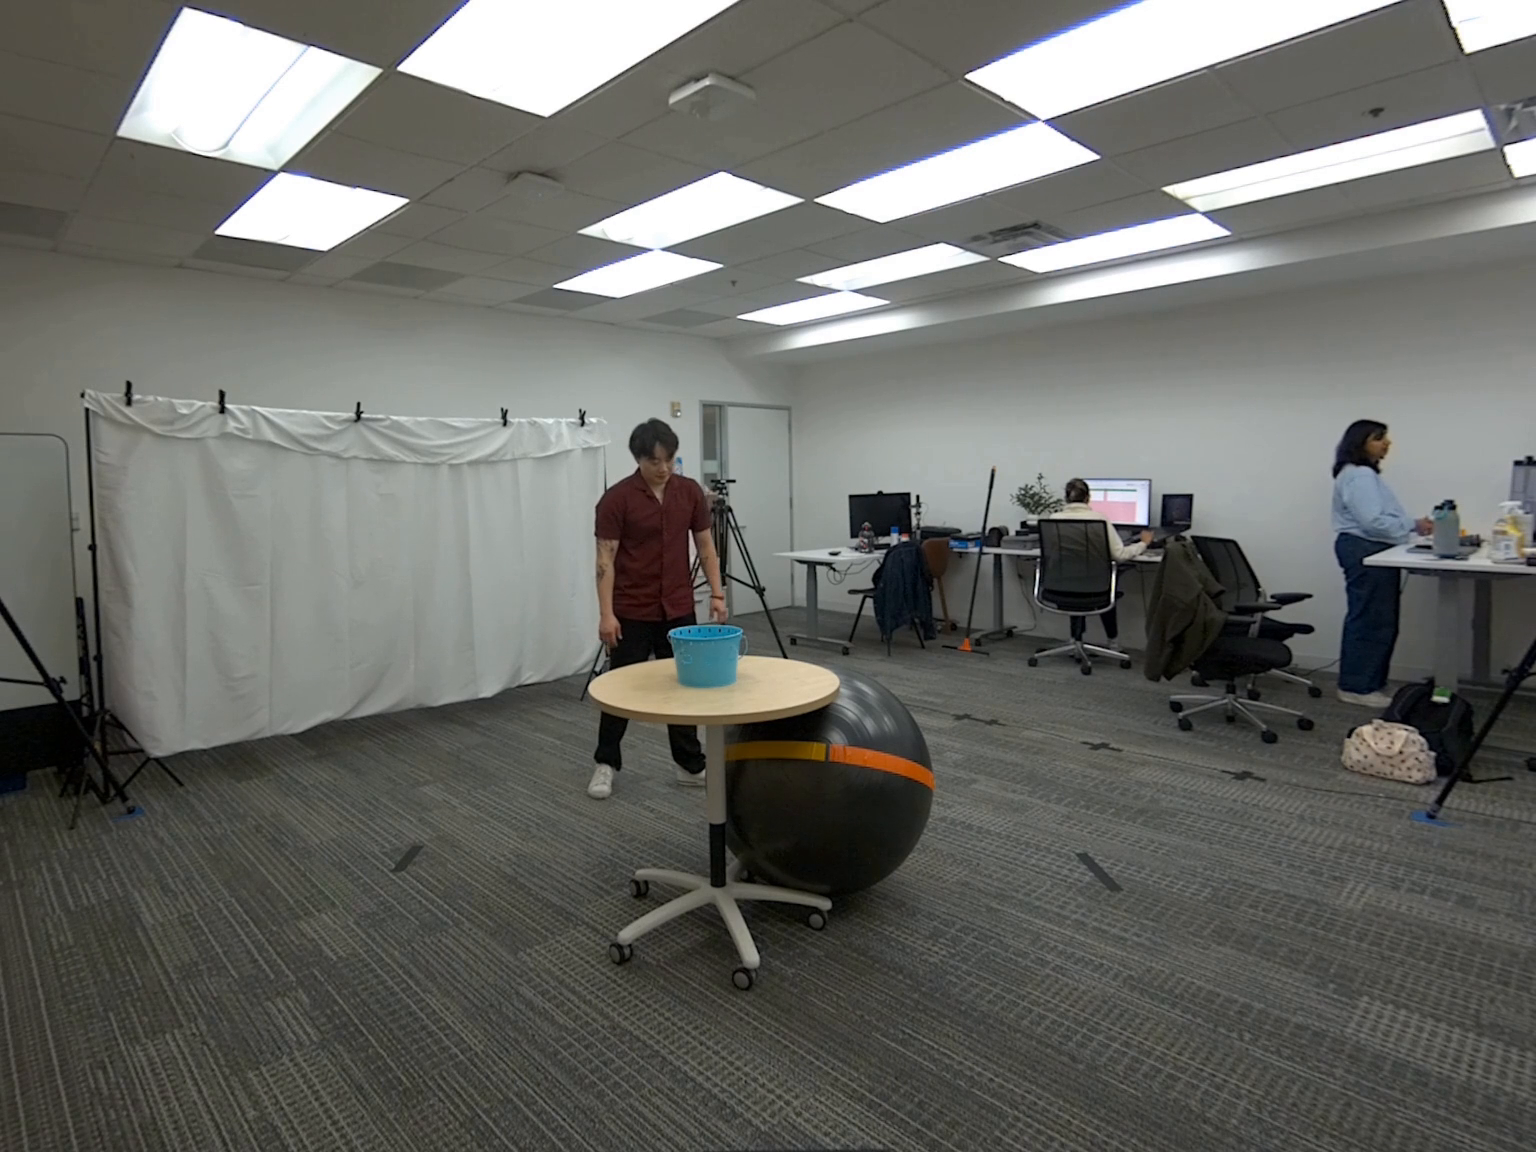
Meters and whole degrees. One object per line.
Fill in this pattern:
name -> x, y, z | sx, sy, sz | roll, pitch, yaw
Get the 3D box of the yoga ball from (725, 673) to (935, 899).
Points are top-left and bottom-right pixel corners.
yoga ball -> 0.172, 0.686, 2.894 | 0.757, 0.755, 0.762 | -1, 5, -2
